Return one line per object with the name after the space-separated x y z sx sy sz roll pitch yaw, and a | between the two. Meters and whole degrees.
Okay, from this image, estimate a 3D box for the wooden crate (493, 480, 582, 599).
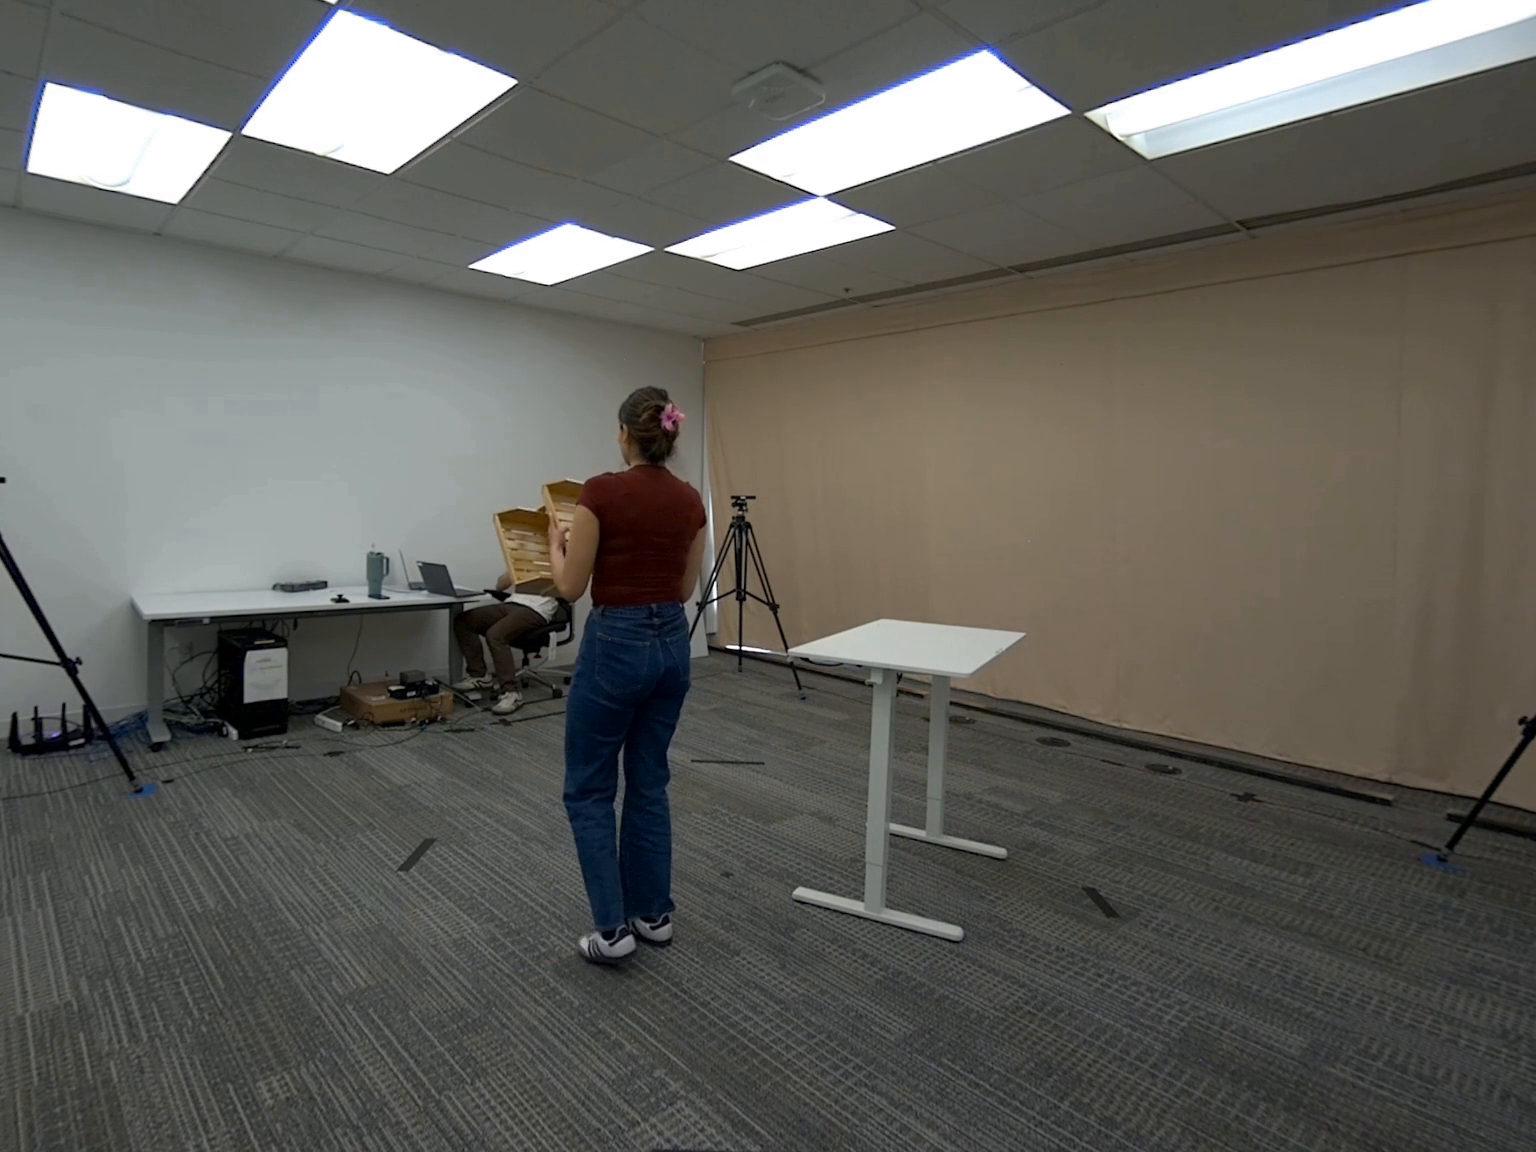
-0.702 -0.125 2.777 0.294 0.333 0.273 10 -47 -46 | wooden crate
